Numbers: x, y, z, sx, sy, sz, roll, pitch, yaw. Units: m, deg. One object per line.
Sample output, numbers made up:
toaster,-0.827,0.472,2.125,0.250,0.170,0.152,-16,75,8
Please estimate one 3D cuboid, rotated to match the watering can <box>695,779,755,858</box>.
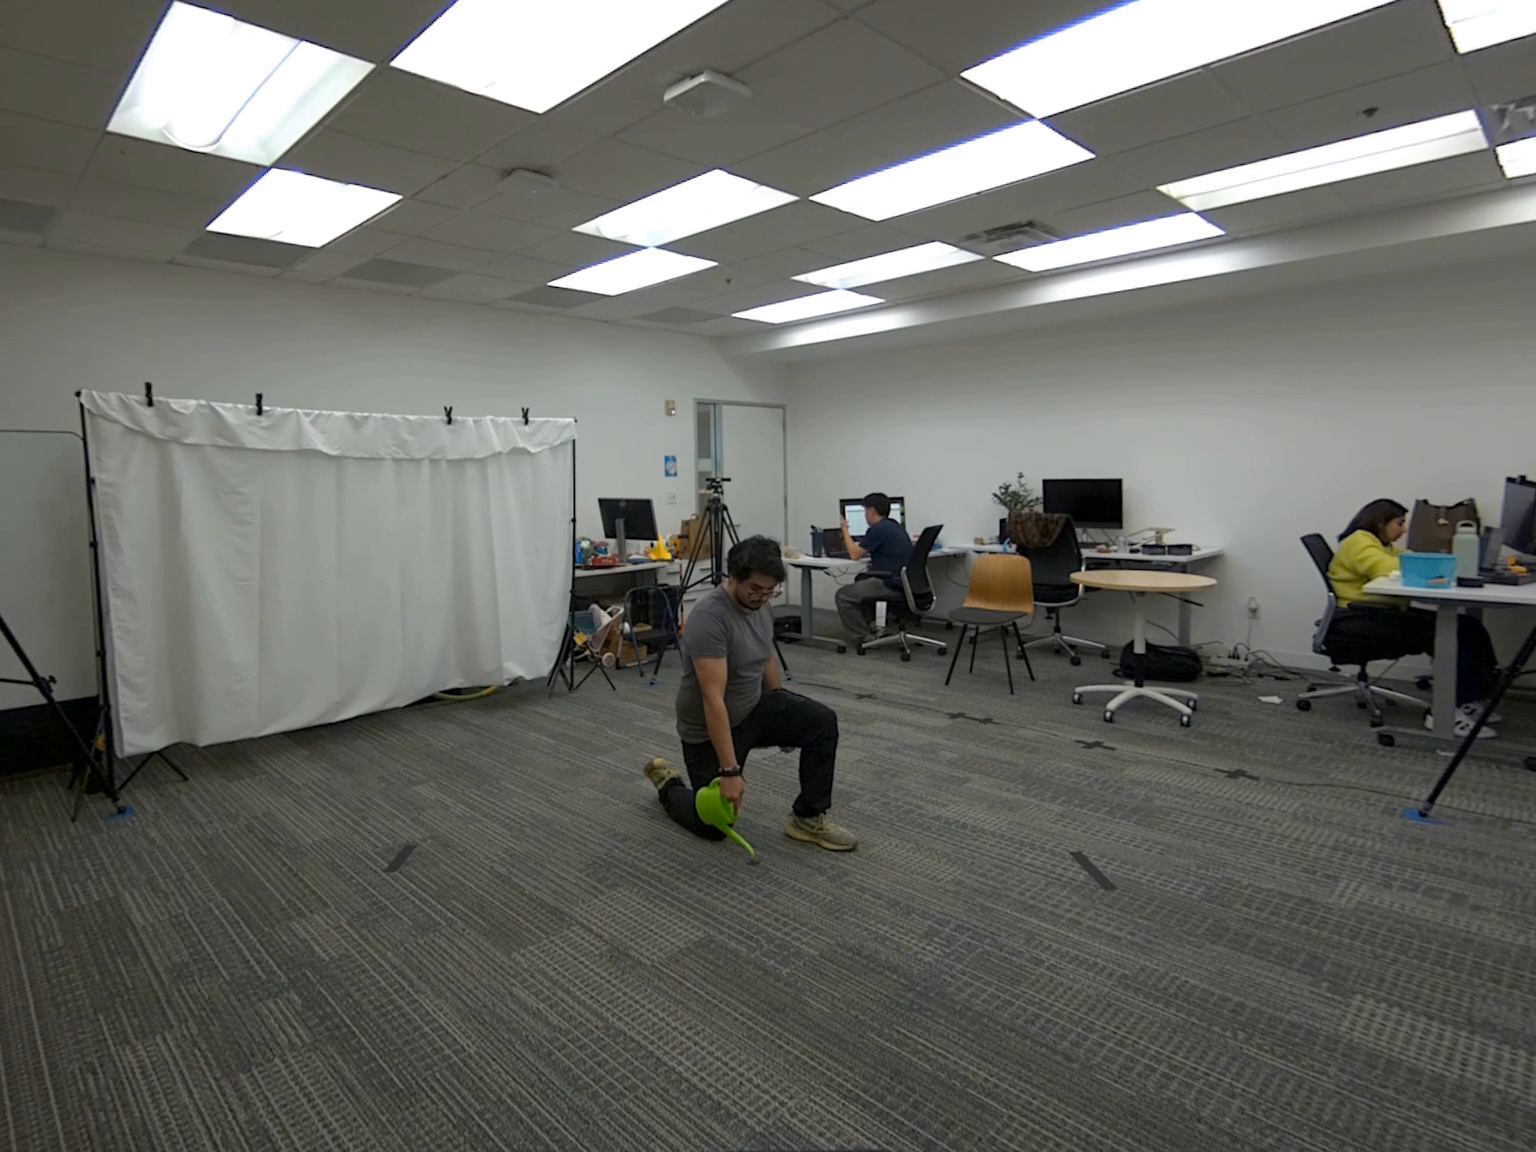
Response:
watering can,-0.155,0.859,3.020,0.095,0.282,0.180,3,-18,-43
